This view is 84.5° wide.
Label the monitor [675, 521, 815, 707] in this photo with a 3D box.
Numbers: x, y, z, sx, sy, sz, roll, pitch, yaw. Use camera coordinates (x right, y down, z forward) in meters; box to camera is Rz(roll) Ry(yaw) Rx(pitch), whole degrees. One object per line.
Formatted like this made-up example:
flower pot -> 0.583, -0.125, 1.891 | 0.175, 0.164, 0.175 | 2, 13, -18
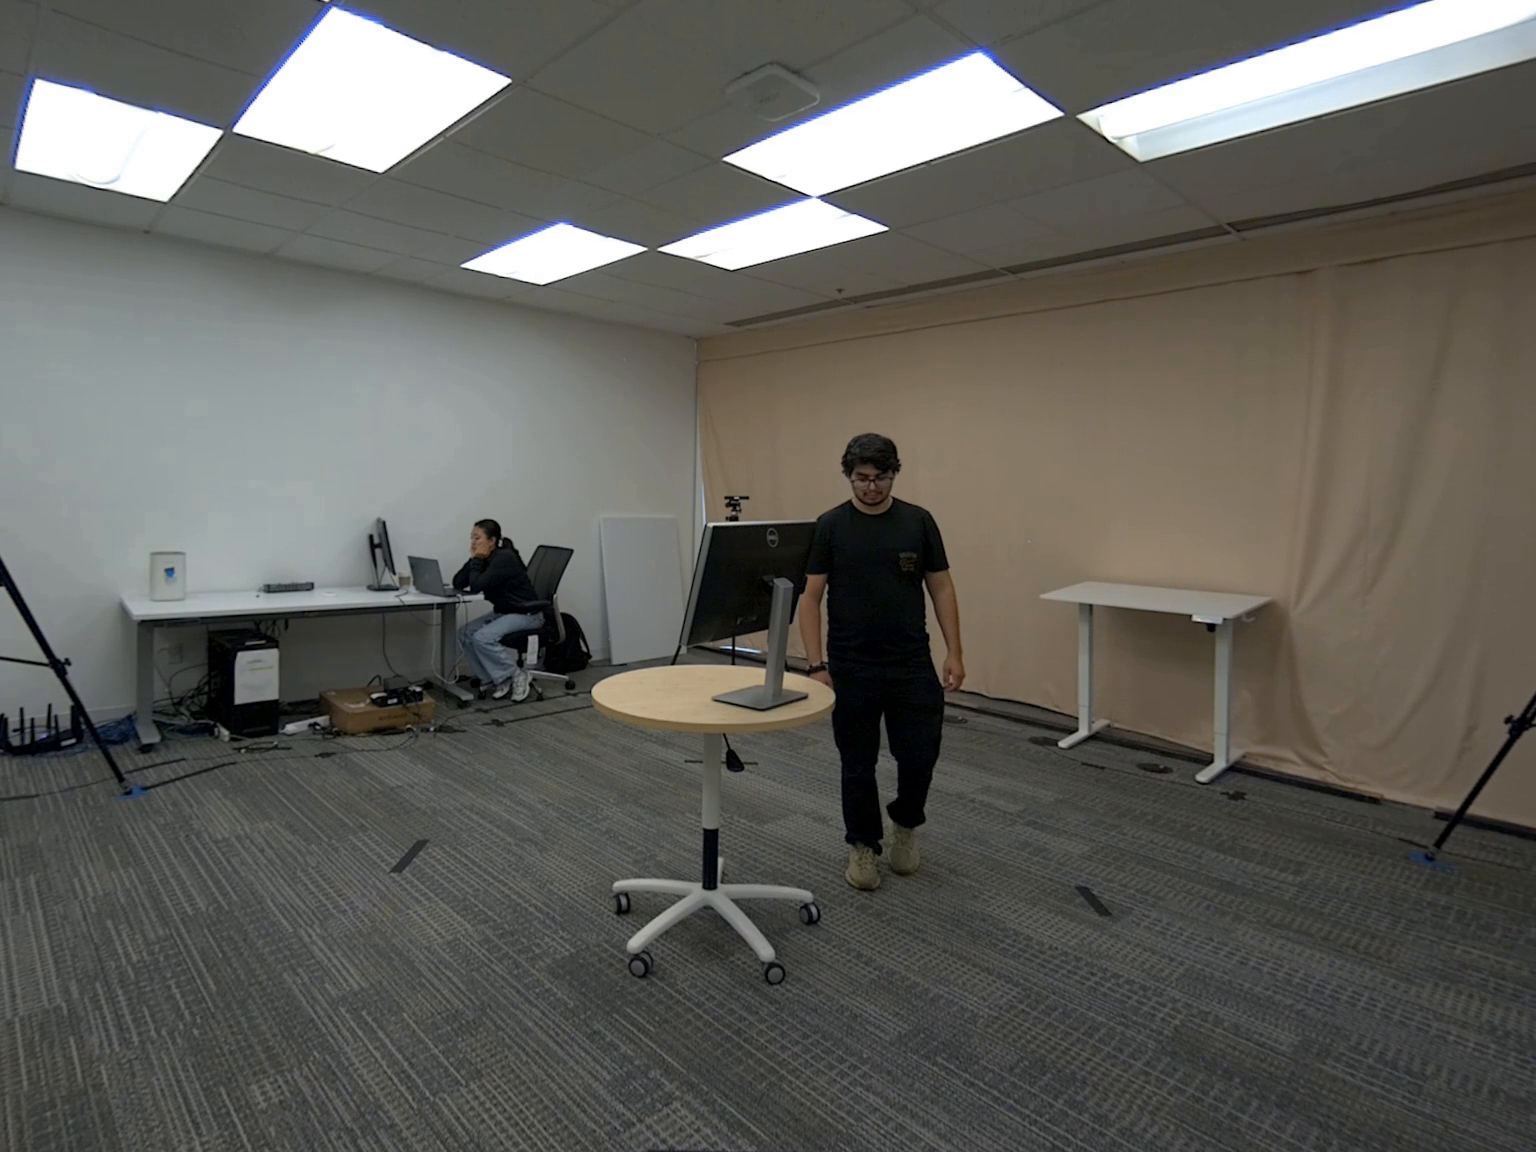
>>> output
monitor -> 0.000, 0.115, 2.526 | 0.215, 0.551, 0.553 | 12, 10, 34
